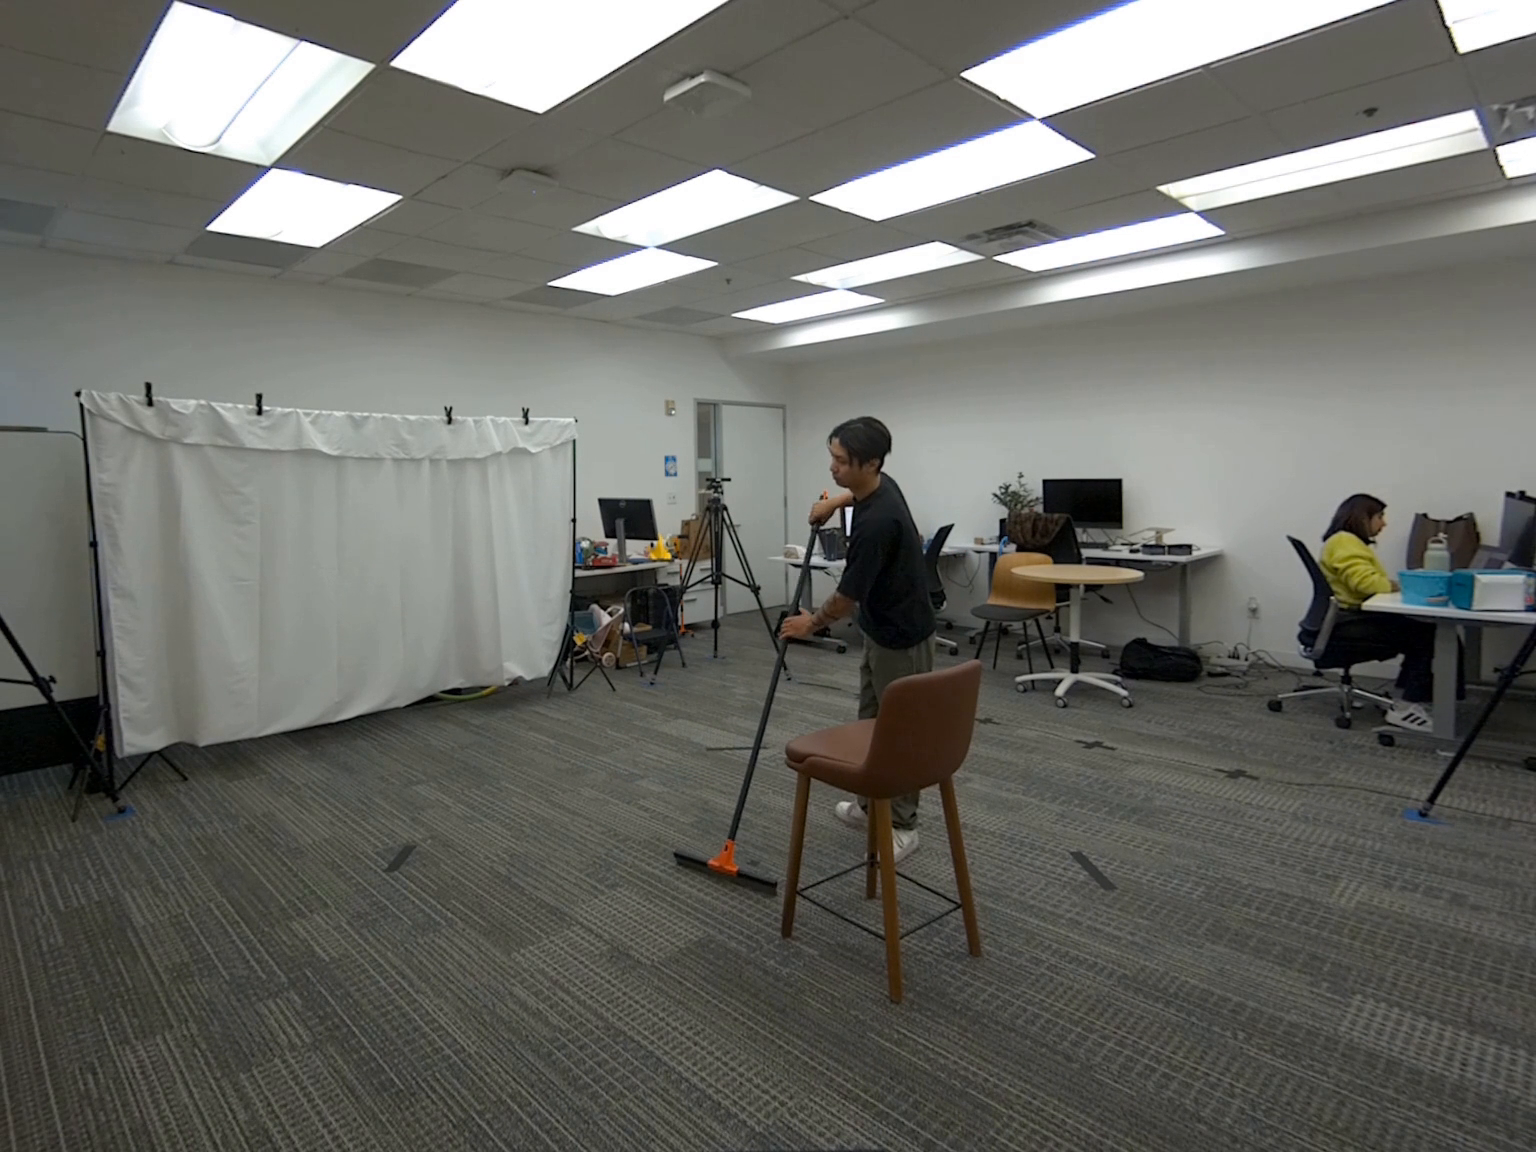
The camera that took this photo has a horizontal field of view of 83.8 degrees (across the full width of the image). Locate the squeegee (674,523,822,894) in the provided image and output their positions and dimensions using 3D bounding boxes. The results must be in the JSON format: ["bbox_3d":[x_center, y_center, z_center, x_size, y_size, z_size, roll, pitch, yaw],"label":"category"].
[{"bbox_3d":[0.029,0.337,3.238,0.449,1.557,0.051,0,-26,34],"label":"squeegee"}]
